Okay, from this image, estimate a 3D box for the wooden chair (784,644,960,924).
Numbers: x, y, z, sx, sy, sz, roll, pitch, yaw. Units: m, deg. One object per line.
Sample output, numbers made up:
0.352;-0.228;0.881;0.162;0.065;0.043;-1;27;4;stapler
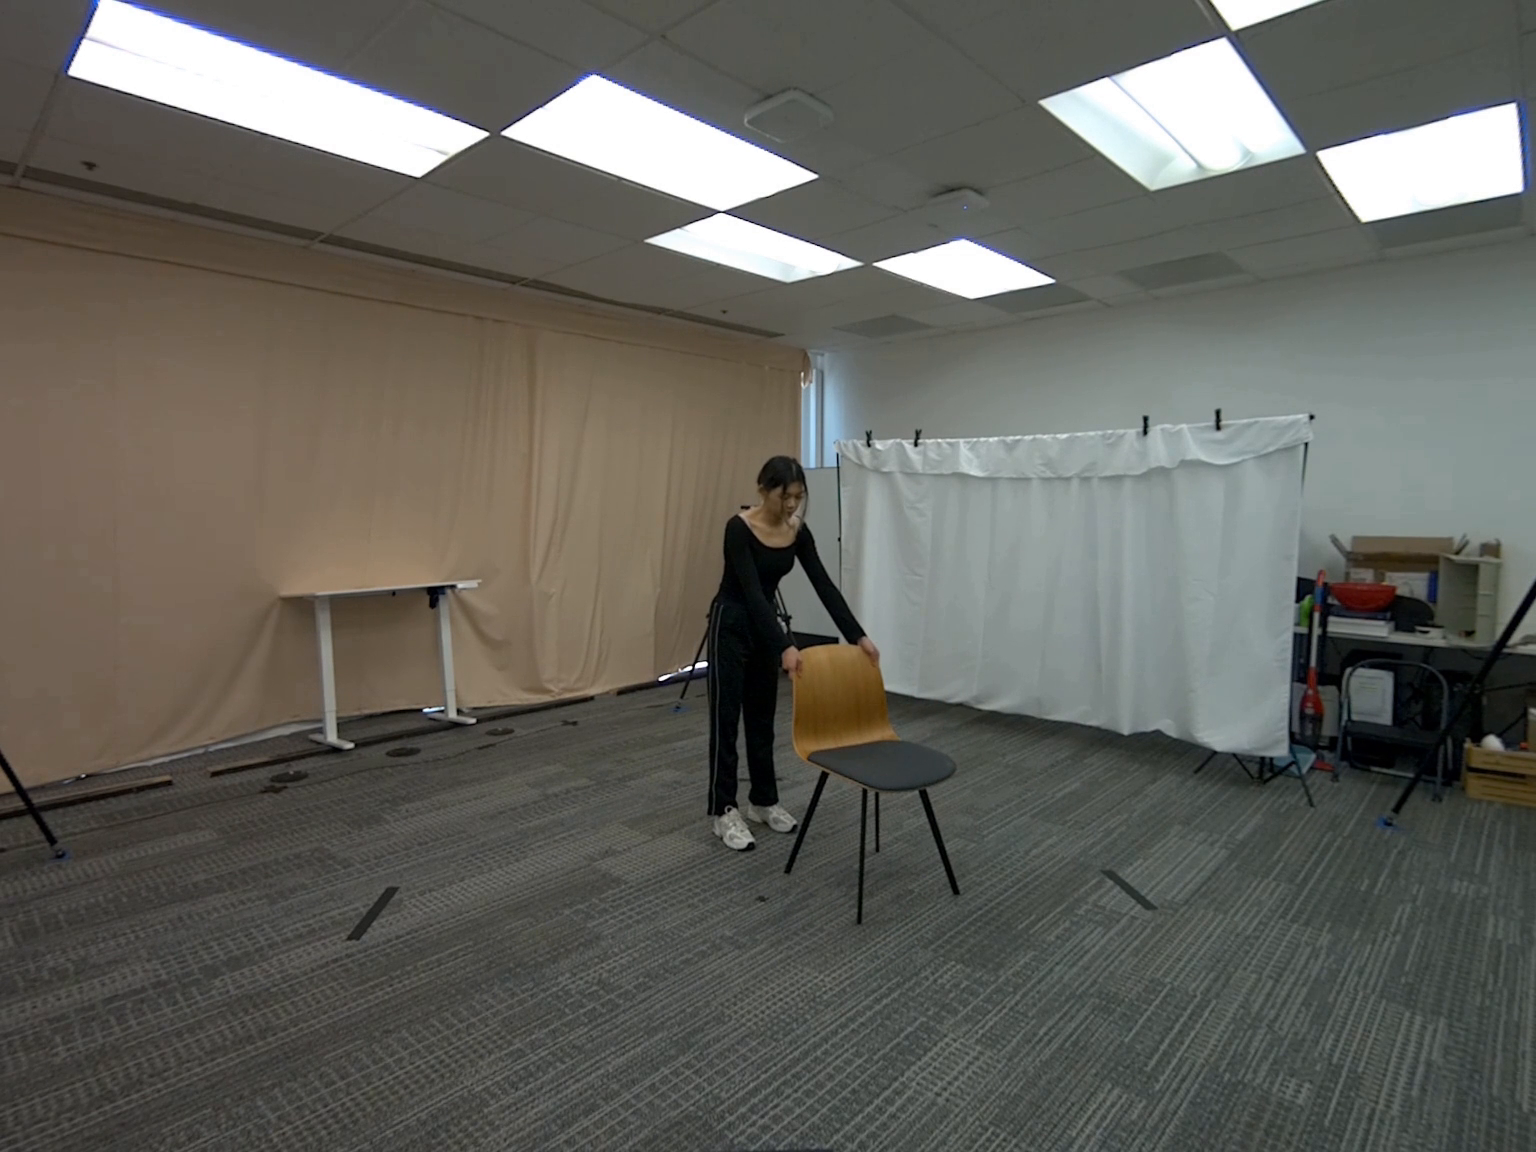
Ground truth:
0.379;0.709;3.064;0.465;0.878;0.537;-2;-1;-31;wooden chair
